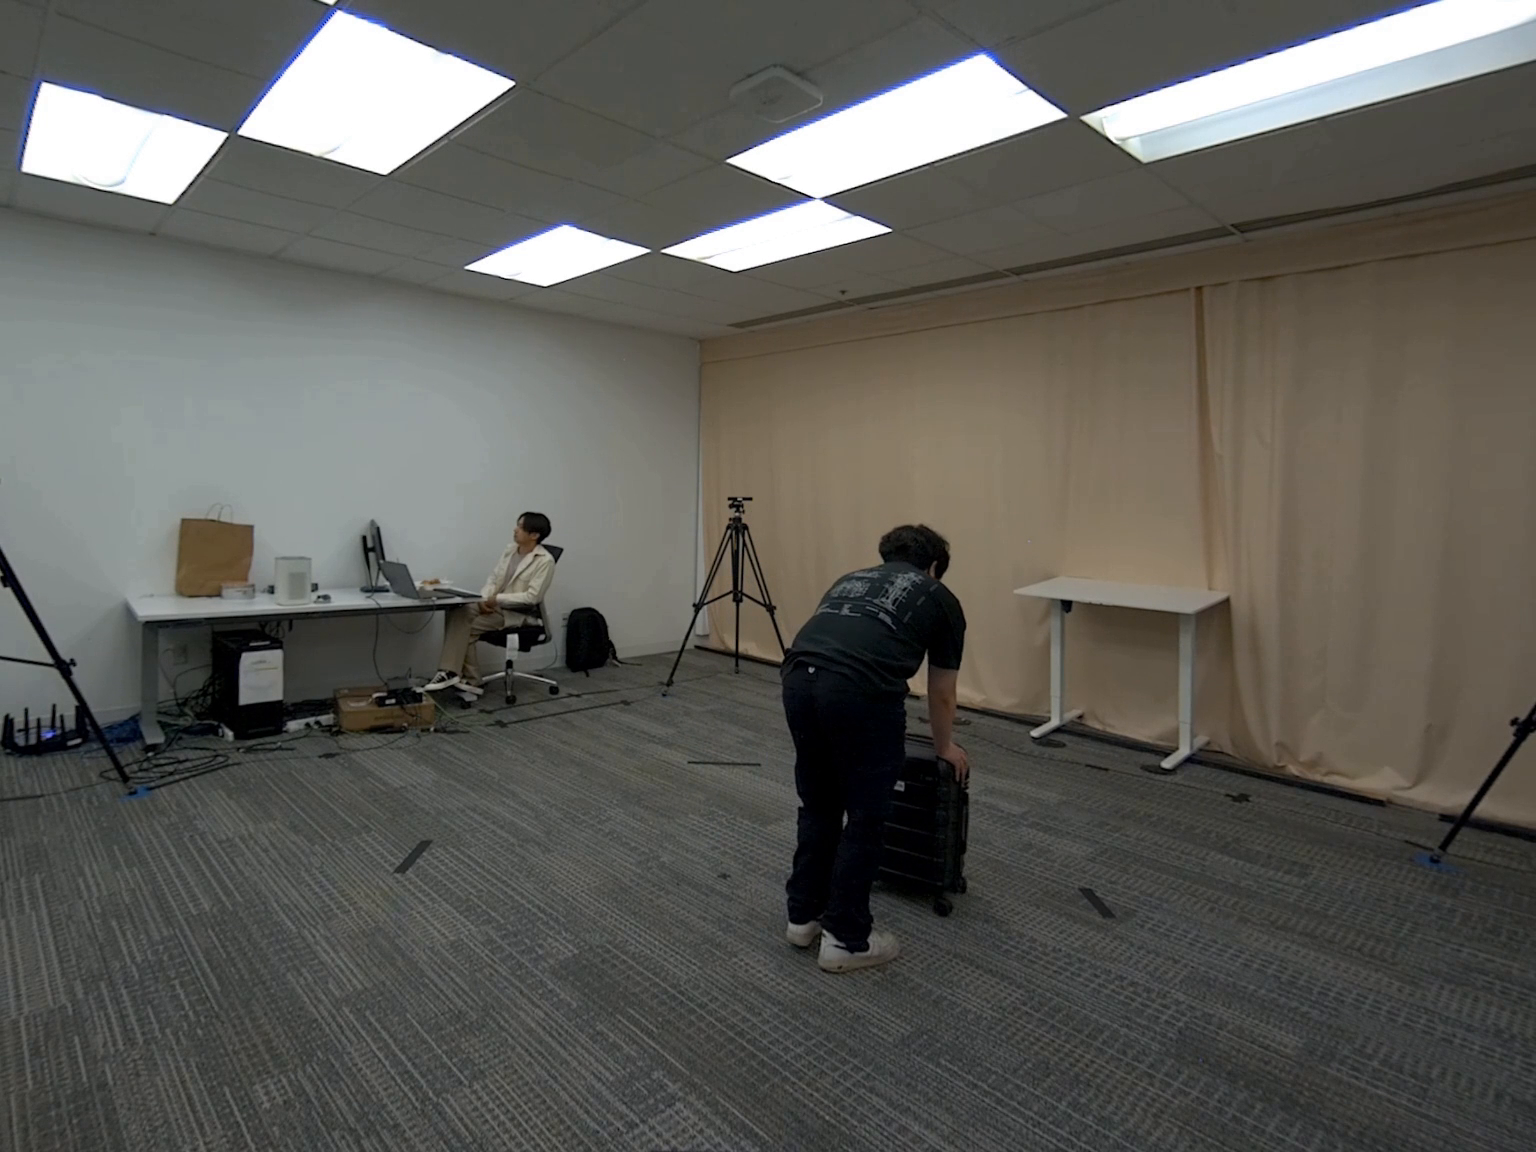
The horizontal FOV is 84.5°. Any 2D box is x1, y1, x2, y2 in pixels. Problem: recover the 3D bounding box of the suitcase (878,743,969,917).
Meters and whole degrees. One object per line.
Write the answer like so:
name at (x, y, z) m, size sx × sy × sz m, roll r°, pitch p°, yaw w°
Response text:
suitcase at (0.520, 0.854, 3.029) m, size 0.384 × 0.548 × 0.243 m, roll 4°, pitch 3°, yaw 34°
